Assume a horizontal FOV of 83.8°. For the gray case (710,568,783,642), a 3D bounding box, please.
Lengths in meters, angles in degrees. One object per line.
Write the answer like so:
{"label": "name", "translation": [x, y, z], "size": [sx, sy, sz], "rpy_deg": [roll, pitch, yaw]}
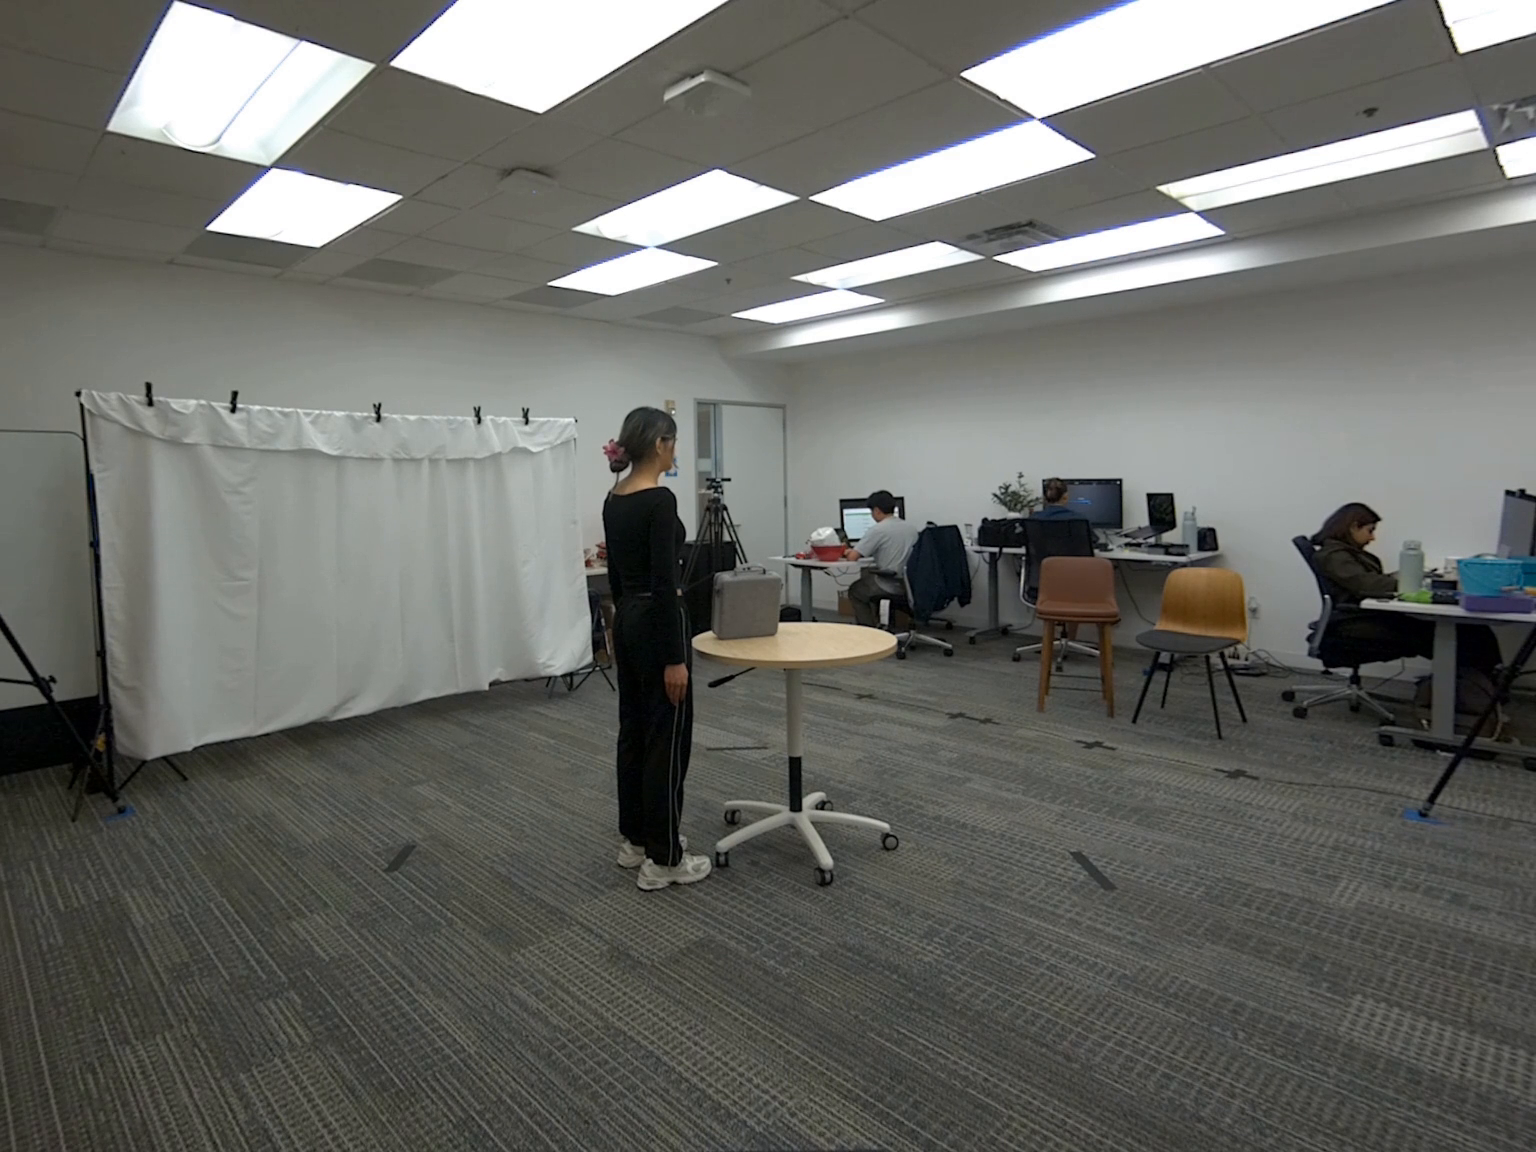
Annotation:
{"label": "gray case", "translation": [-0.078, 0.103, 3.252], "size": [0.252, 0.257, 0.107], "rpy_deg": [-3, 14, -19]}
